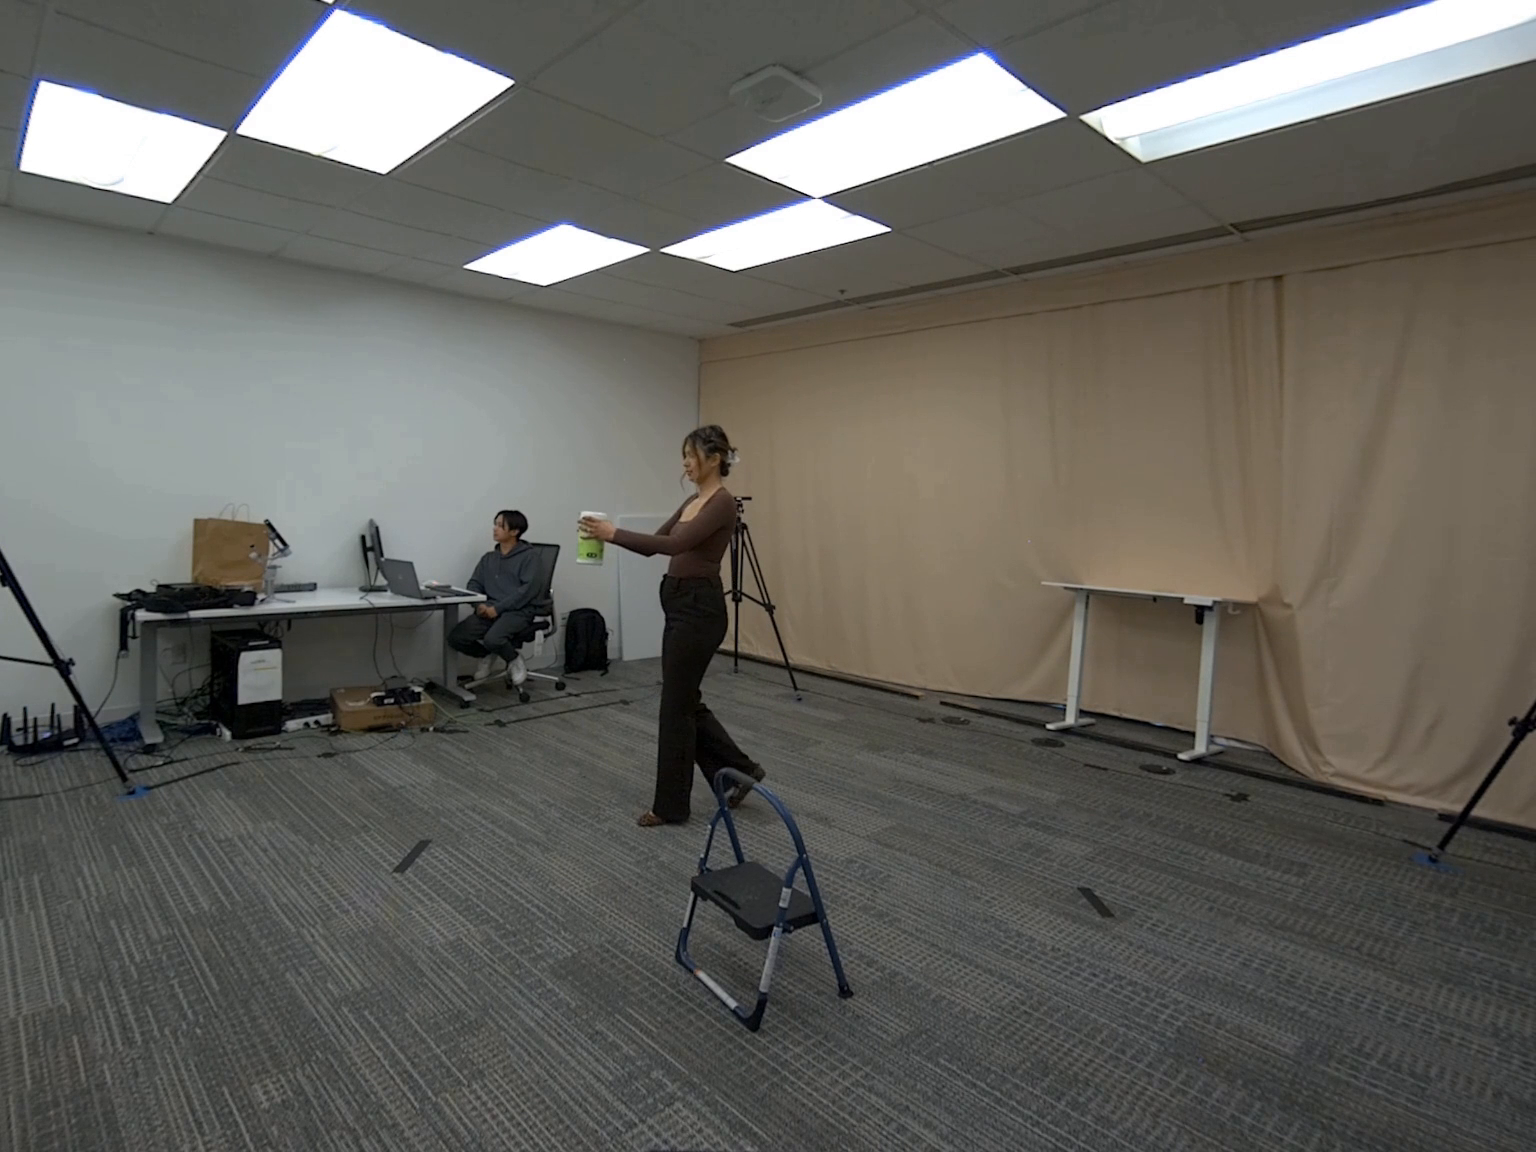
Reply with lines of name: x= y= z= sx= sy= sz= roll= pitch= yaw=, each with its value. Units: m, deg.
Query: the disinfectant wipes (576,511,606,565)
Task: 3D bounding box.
disinfectant wipes: x=-0.727 y=-0.152 z=3.483 sx=0.118 sy=0.217 sz=0.118 roll=5 pitch=1 yaw=-2
